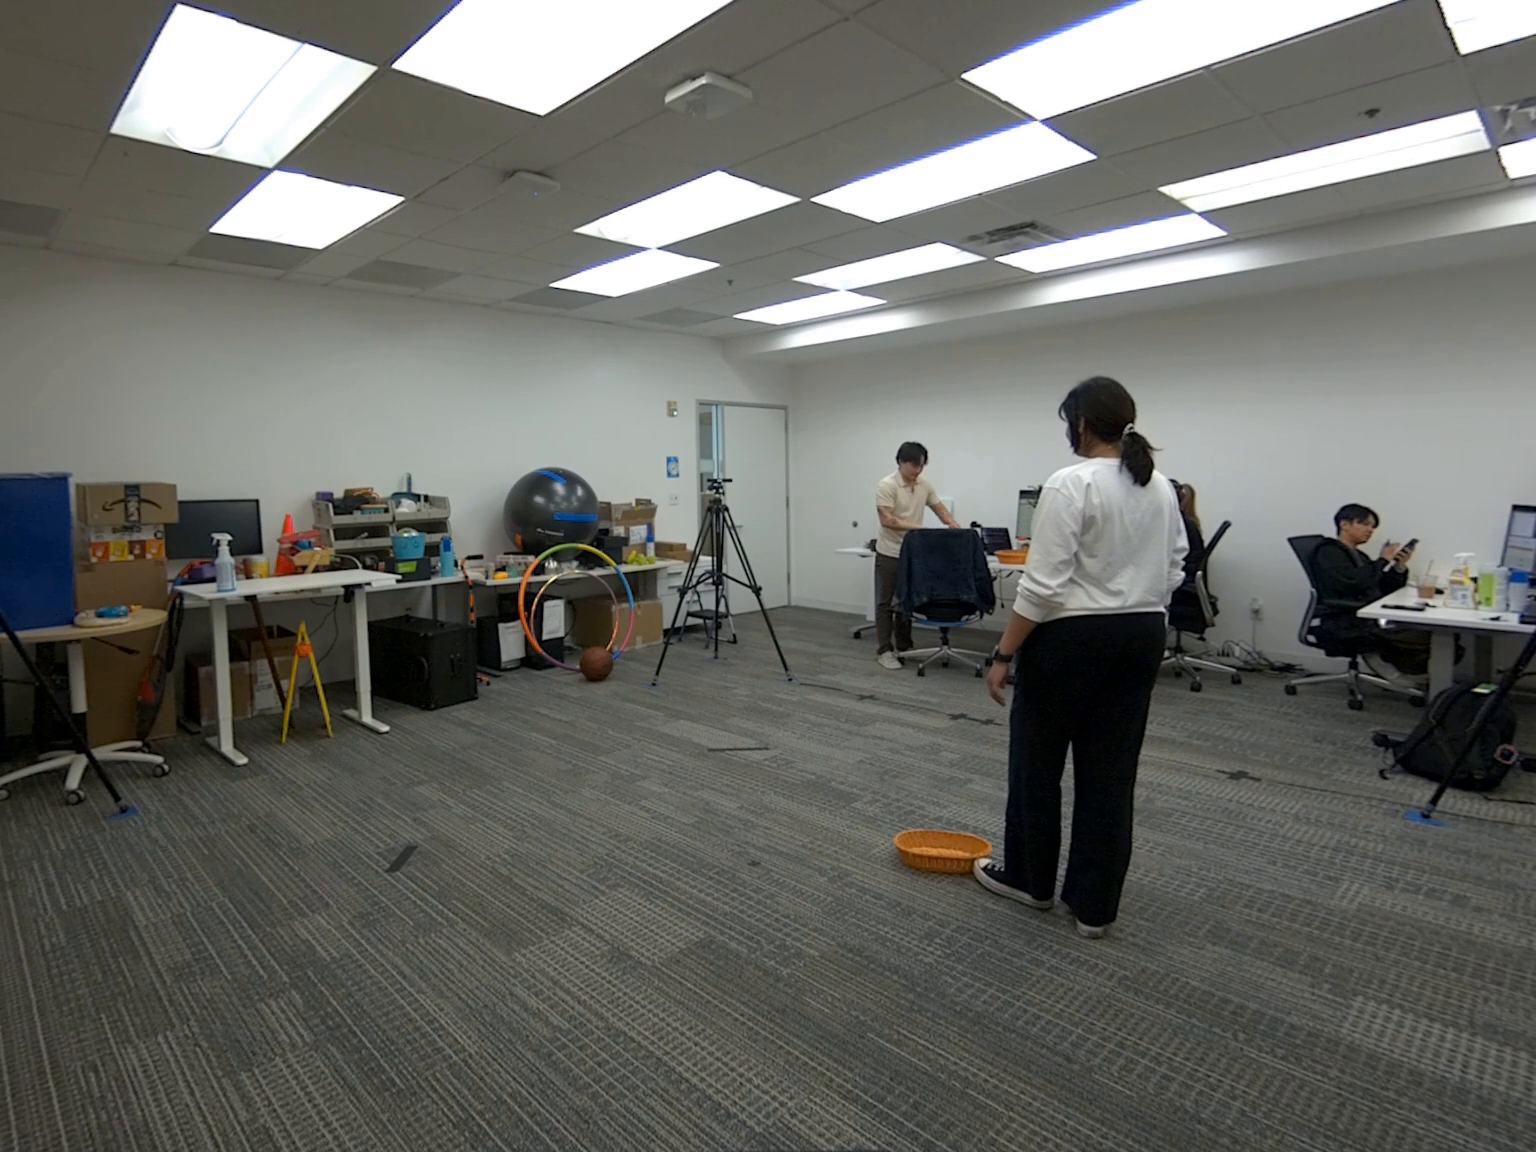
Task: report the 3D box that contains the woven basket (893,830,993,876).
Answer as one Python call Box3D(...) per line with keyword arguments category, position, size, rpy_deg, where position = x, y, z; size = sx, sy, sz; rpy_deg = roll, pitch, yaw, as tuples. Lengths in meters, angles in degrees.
Box3D(category="woven basket", position=(0.627, 0.996, 3.095), size=(0.356, 0.073, 0.249), rpy_deg=(0, 4, 16))
